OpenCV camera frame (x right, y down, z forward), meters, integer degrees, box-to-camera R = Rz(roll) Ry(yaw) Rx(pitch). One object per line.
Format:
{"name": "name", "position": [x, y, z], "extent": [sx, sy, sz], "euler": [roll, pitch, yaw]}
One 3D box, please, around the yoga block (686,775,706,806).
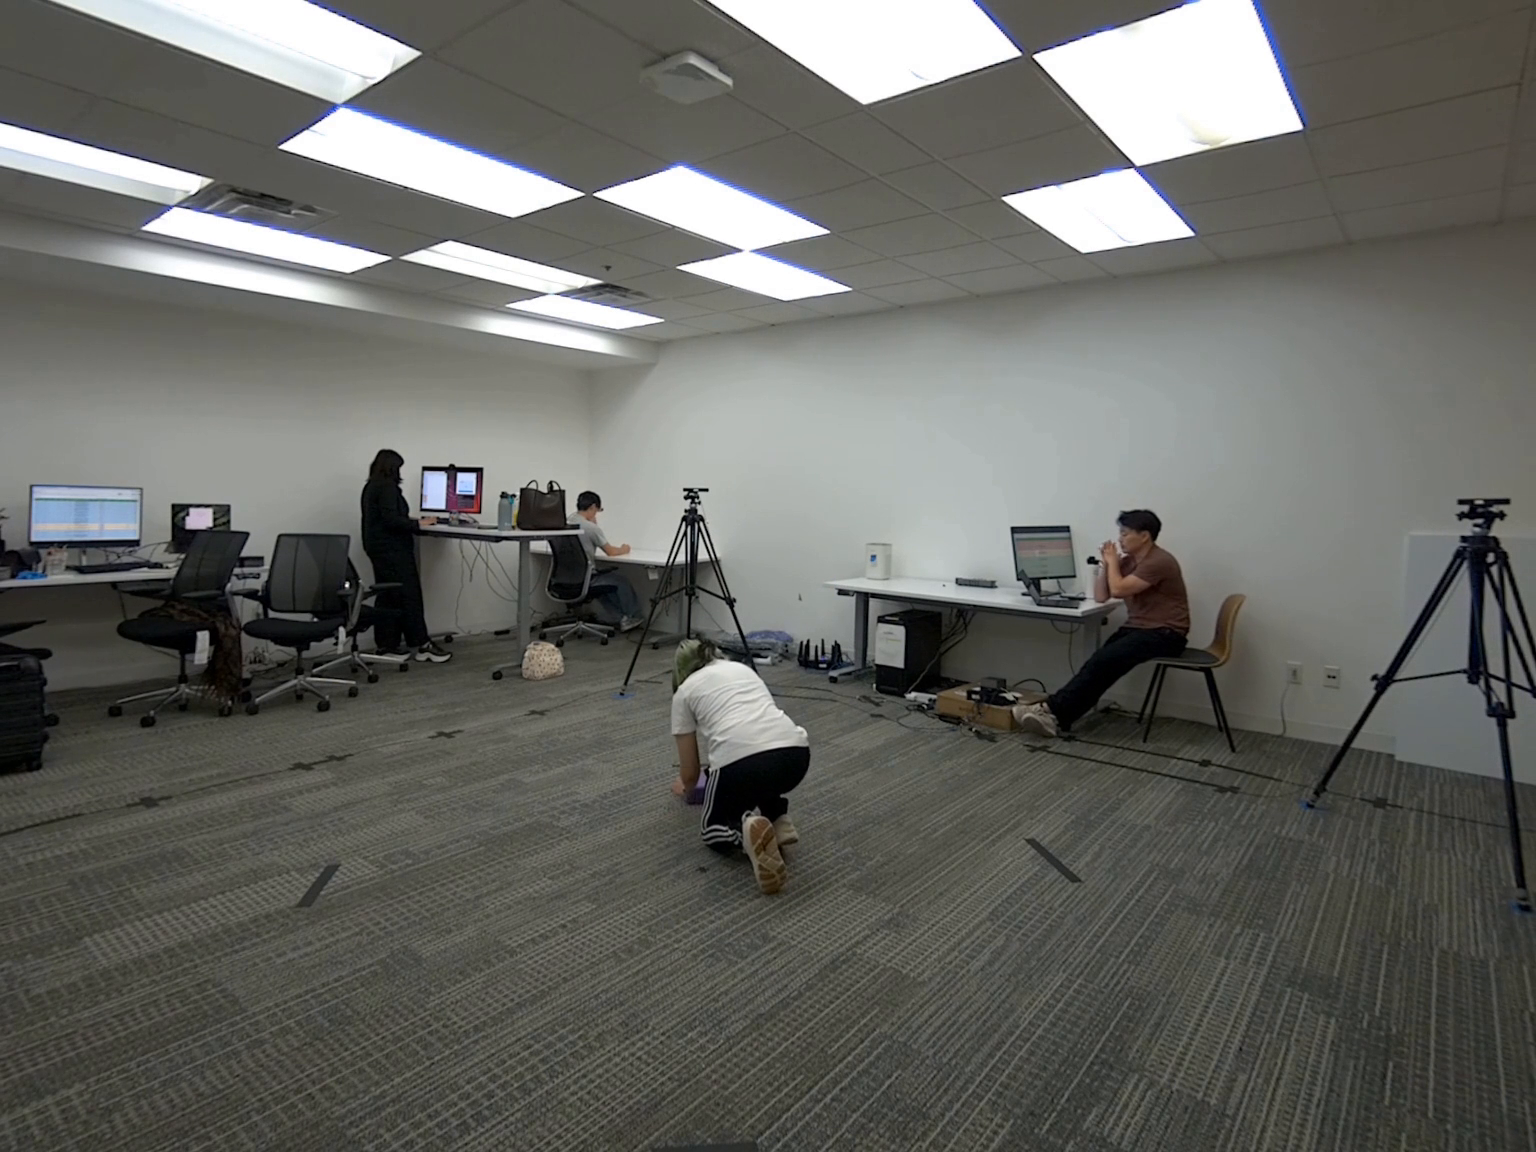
{"name": "yoga block", "position": [-0.273, 0.953, 3.838], "extent": [0.225, 0.076, 0.152], "euler": [-1, 5, -17]}
